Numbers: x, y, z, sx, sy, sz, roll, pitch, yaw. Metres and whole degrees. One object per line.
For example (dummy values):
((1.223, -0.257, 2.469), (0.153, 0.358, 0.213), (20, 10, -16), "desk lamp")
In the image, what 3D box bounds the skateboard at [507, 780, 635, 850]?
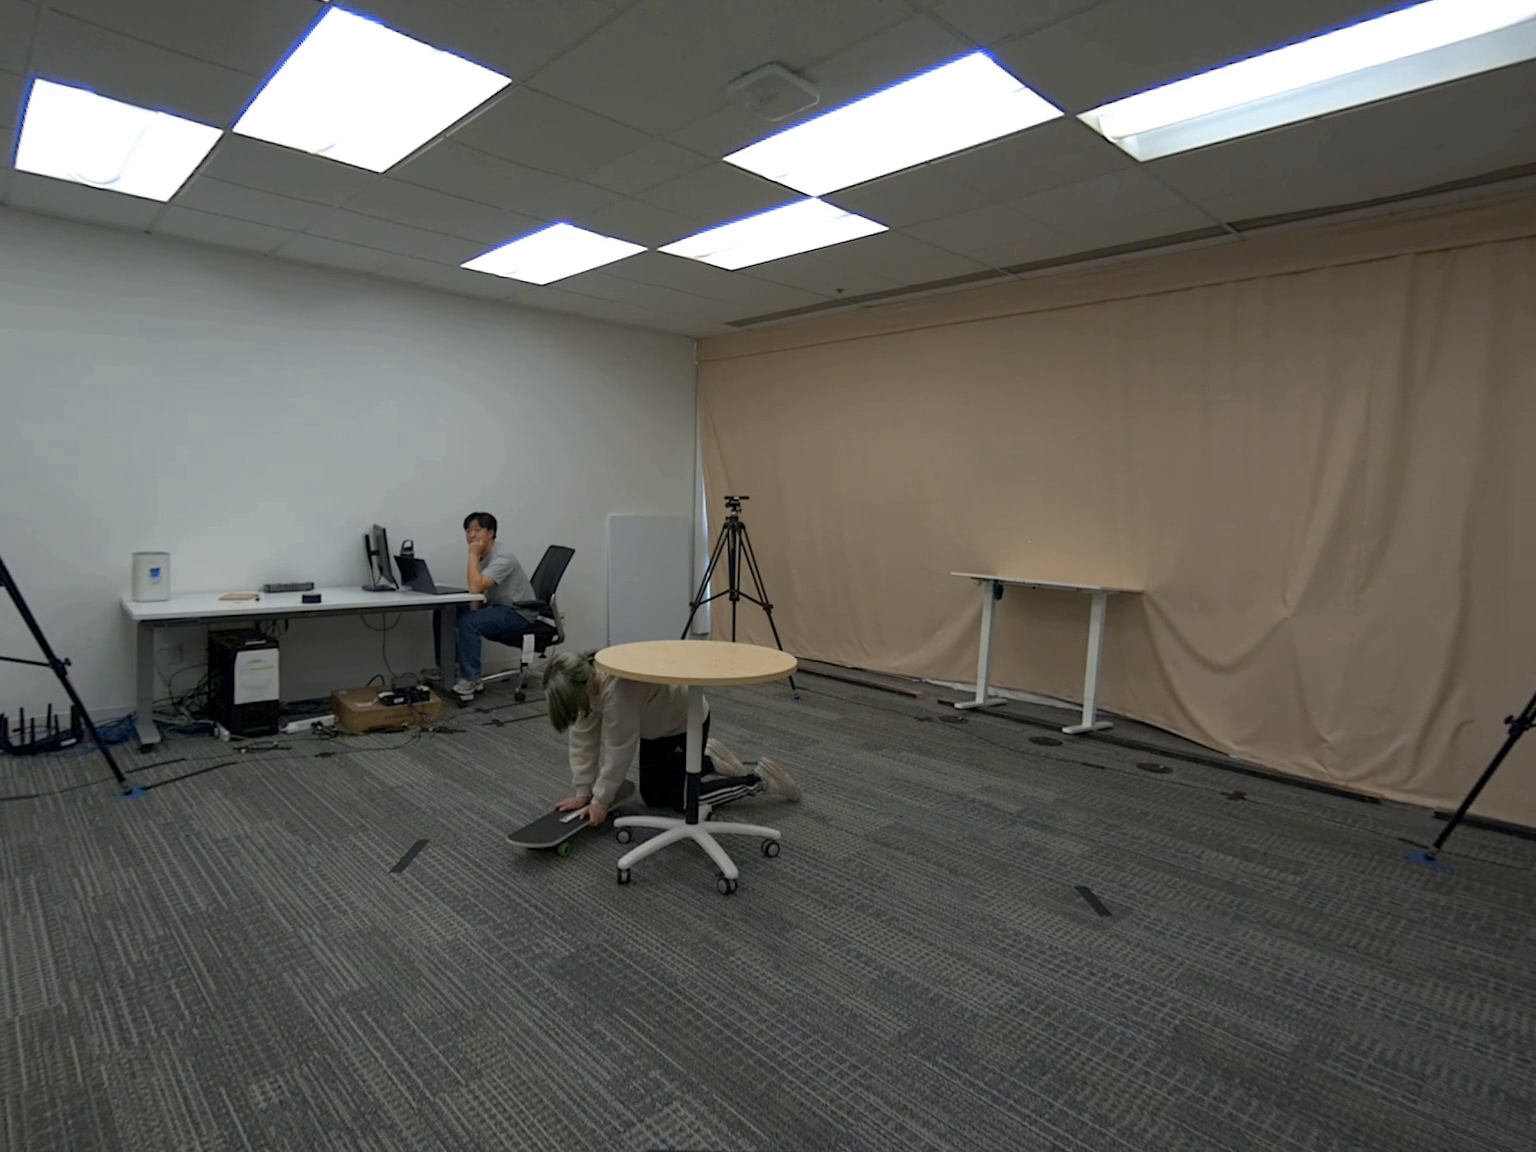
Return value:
((-0.787, 0.995, 3.438), (0.197, 0.110, 0.774), (4, 5, 21), "skateboard")
